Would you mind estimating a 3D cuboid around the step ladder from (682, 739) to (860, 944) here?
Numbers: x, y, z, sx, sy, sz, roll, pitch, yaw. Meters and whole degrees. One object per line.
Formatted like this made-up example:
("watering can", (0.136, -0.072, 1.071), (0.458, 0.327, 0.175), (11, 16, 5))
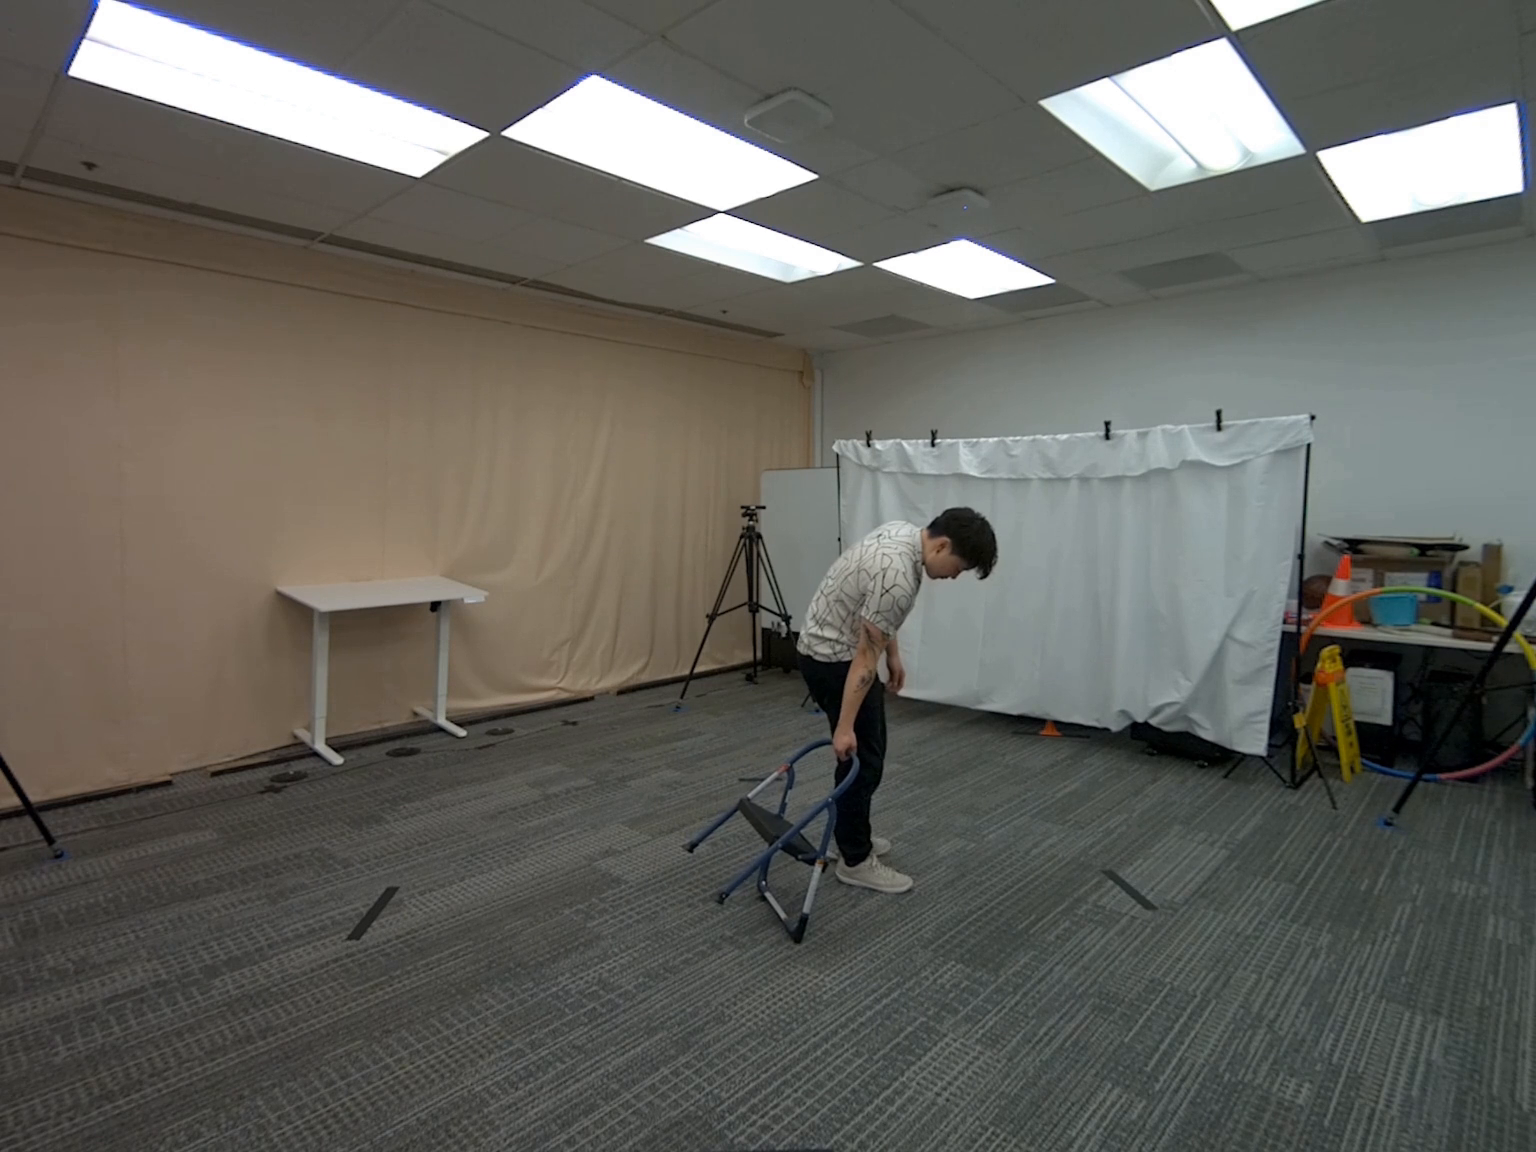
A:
("step ladder", (0.056, 0.815, 2.857), (0.342, 0.606, 0.439), (33, -6, -17))
